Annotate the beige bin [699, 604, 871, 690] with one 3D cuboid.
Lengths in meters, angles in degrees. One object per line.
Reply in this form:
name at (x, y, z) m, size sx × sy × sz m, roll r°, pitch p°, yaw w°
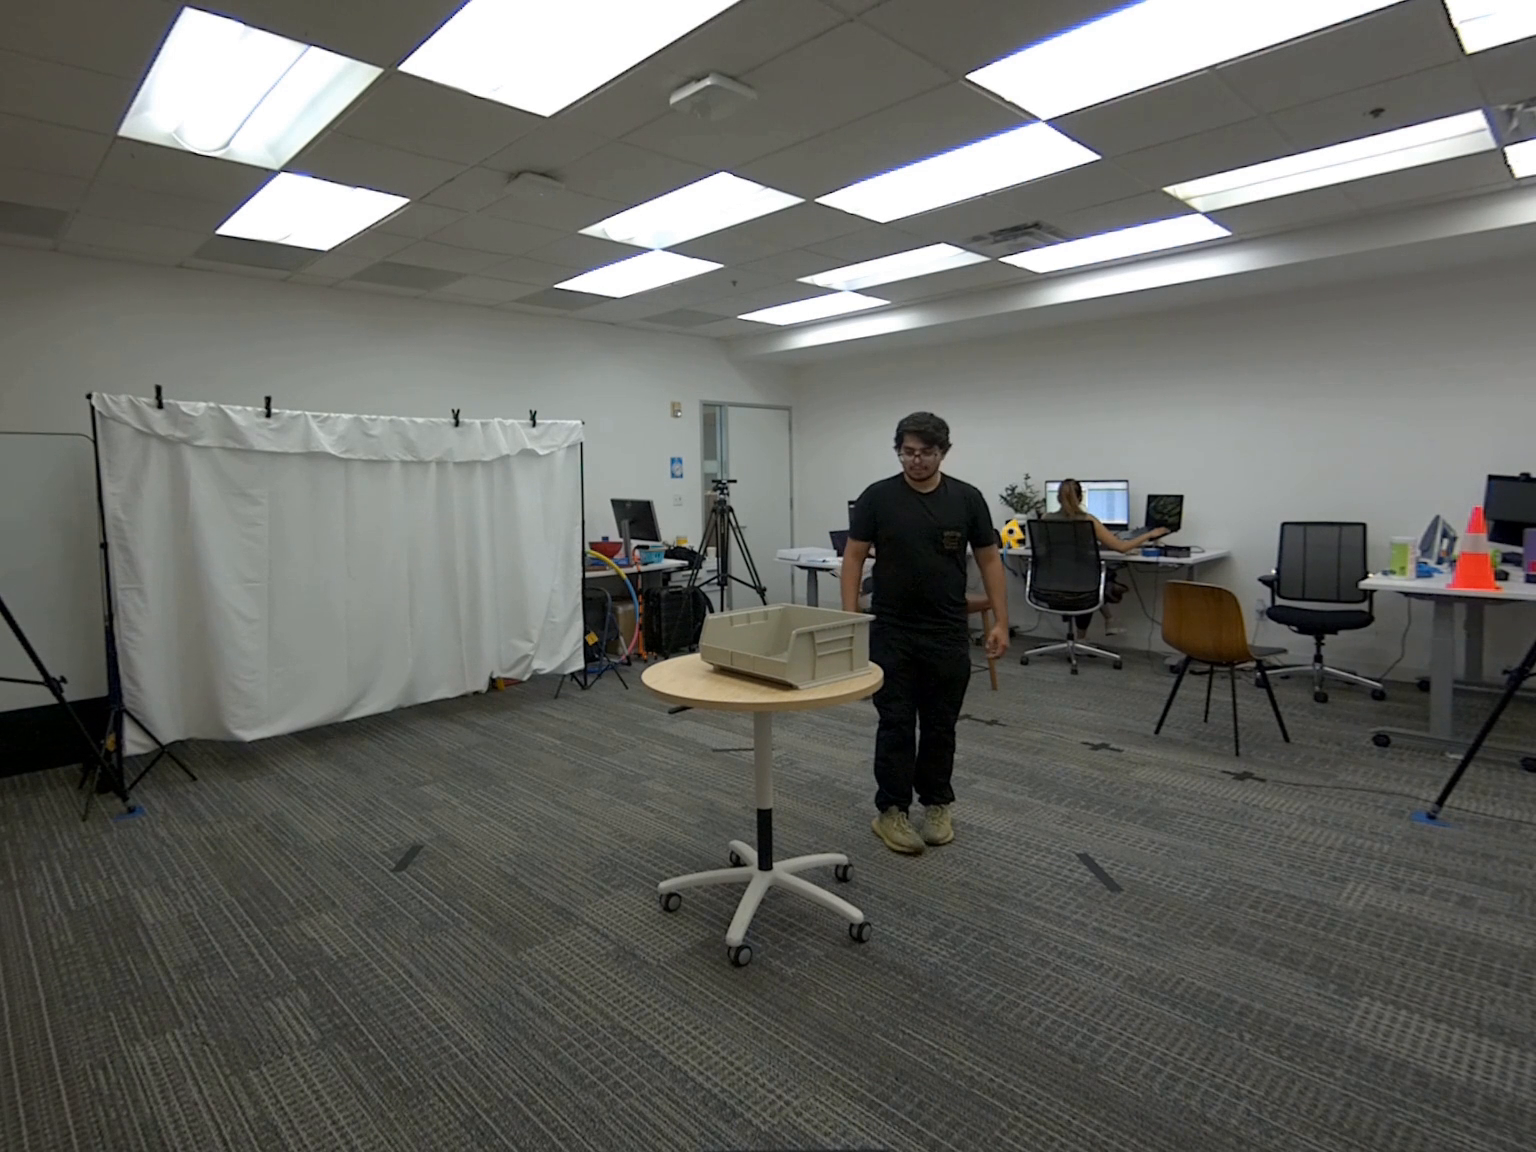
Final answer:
beige bin at (0.056, 0.220, 2.705) m, size 0.367 × 0.188 × 0.435 m, roll -5°, pitch 6°, yaw -39°
